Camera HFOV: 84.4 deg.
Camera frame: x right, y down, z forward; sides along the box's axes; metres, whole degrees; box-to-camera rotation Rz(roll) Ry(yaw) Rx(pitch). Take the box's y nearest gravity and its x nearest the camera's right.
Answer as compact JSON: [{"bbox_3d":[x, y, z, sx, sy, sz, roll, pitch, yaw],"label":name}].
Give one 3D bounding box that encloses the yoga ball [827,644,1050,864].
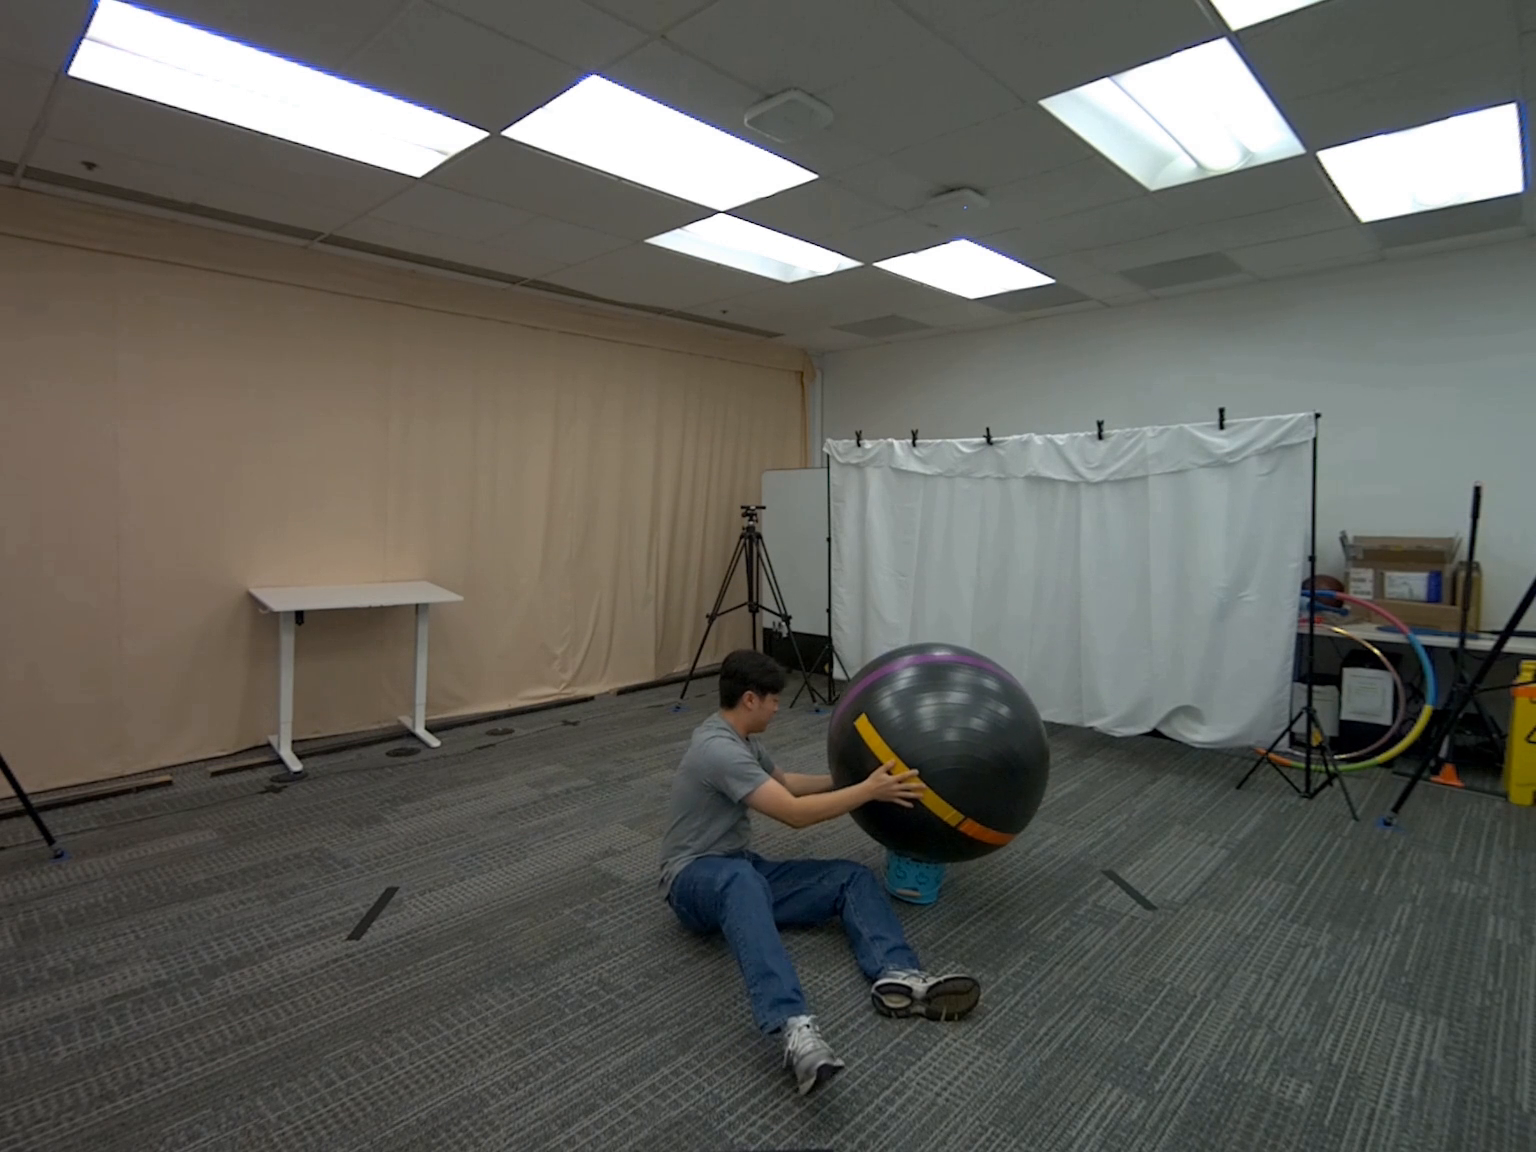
[{"bbox_3d":[0.601,0.616,2.993,0.757,0.756,0.761,0,4,-2],"label":"yoga ball"}]
